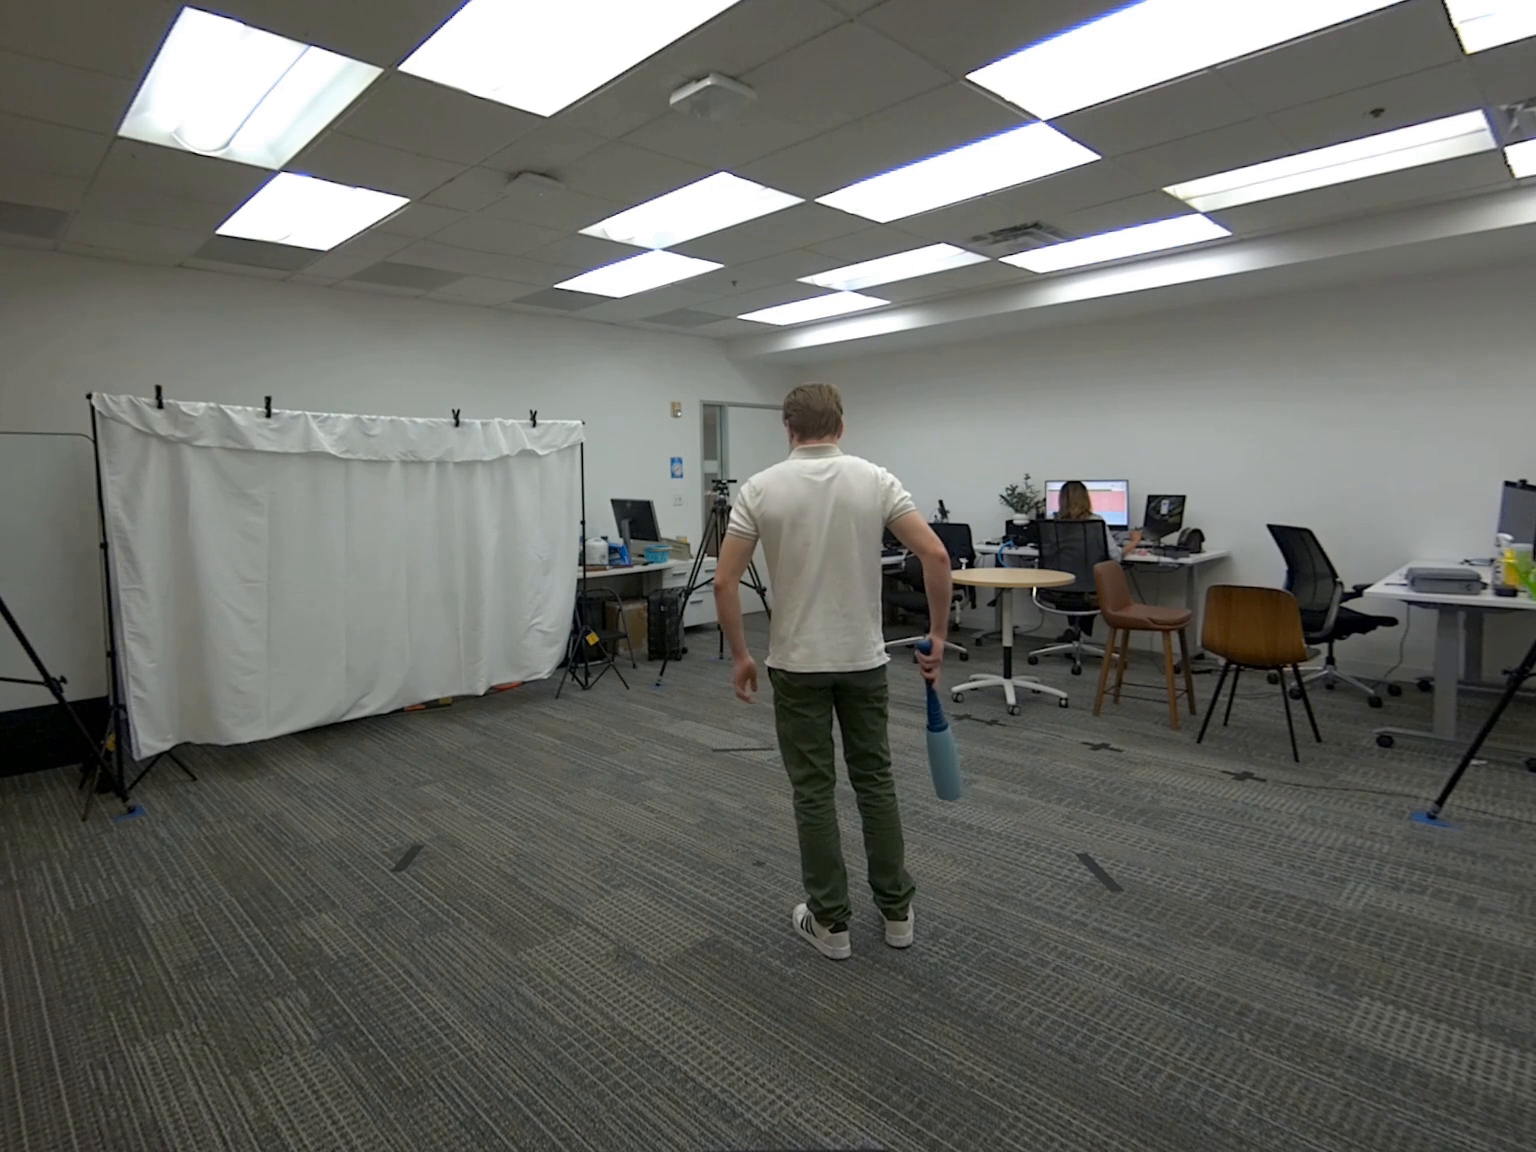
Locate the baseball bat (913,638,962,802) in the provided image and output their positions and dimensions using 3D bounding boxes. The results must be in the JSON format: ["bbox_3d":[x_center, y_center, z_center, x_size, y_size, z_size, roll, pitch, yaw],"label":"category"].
[{"bbox_3d":[0.494,0.430,2.610,0.089,0.532,0.090,-13,19,3],"label":"baseball bat"}]
